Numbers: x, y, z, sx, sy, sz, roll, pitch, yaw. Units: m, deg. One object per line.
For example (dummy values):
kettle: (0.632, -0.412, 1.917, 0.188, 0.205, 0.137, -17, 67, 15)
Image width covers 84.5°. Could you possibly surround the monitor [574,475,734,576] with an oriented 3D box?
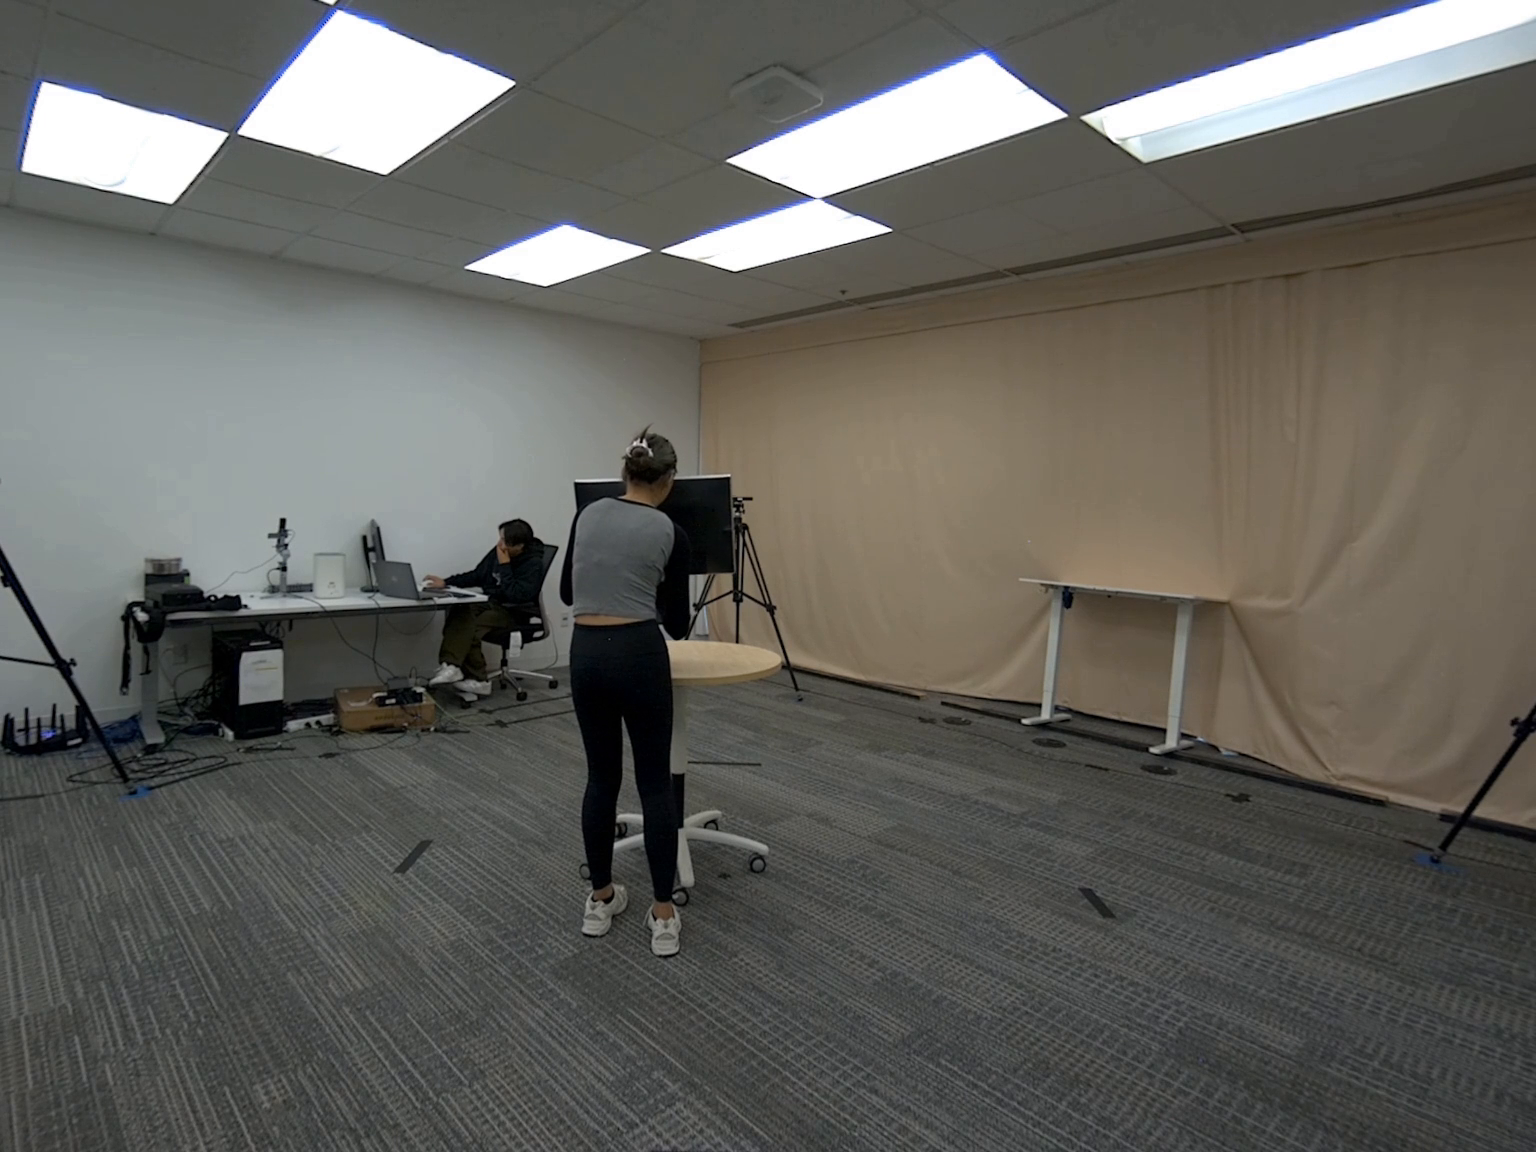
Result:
monitor: (-0.391, -0.086, 2.977, 0.540, 0.520, 0.188, -2, 6, 2)
